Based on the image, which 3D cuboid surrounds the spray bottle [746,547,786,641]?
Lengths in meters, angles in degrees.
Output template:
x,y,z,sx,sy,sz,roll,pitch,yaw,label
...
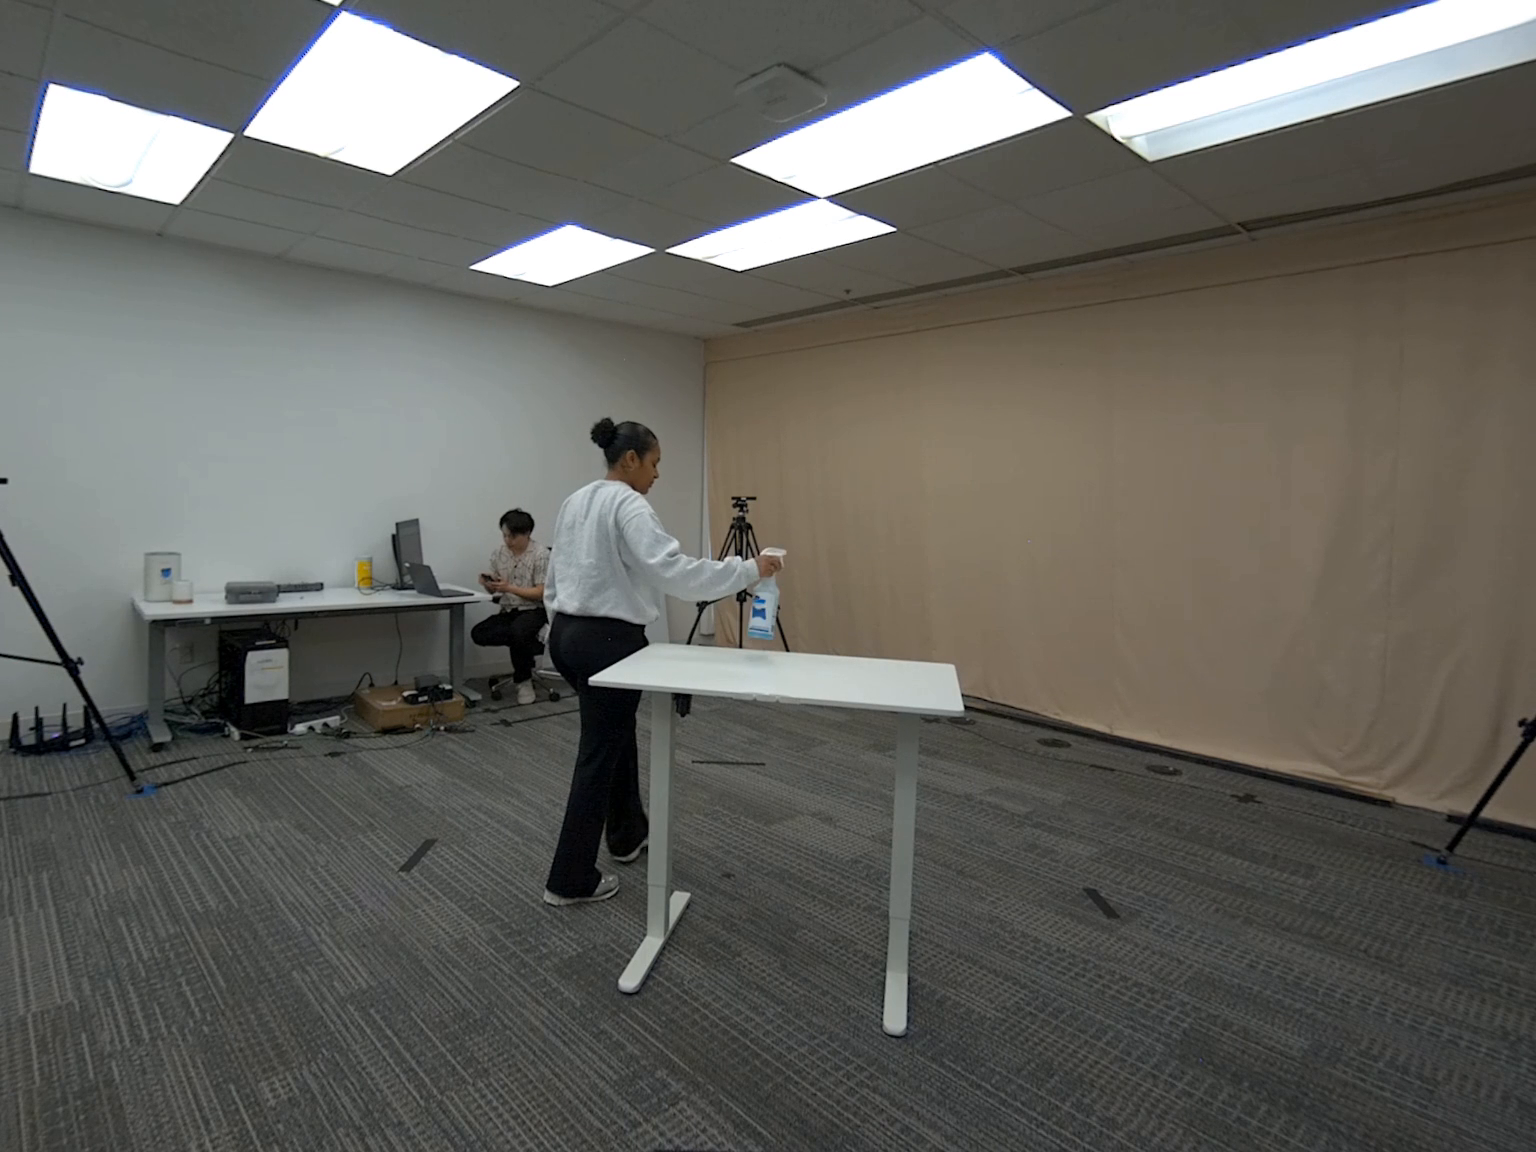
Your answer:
x,y,z,sx,sy,sz,roll,pitch,yaw,label
-0.009,0.059,2.731,0.090,0.298,0.086,8,-6,1,spray bottle
